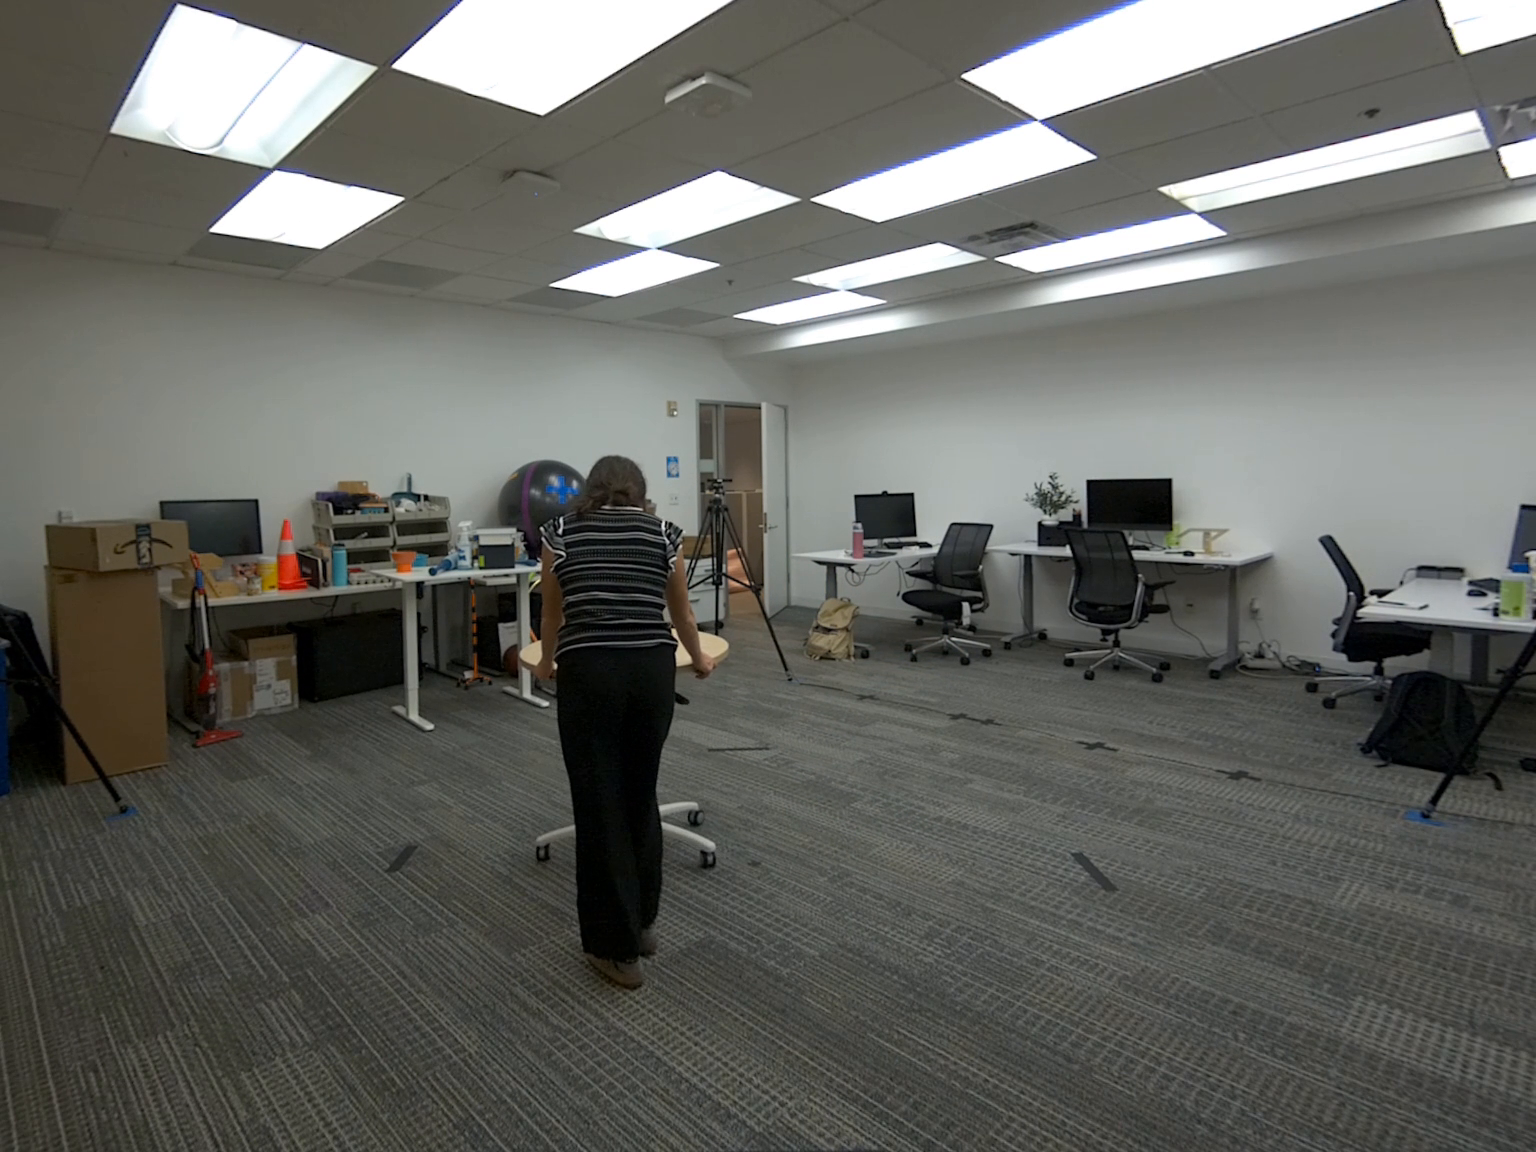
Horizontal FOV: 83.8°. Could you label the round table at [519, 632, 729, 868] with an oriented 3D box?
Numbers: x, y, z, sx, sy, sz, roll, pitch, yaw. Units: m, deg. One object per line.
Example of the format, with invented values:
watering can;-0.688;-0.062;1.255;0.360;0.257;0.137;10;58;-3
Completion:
round table;-0.514;0.657;3.201;0.763;0.790;0.768;-1;6;-2
